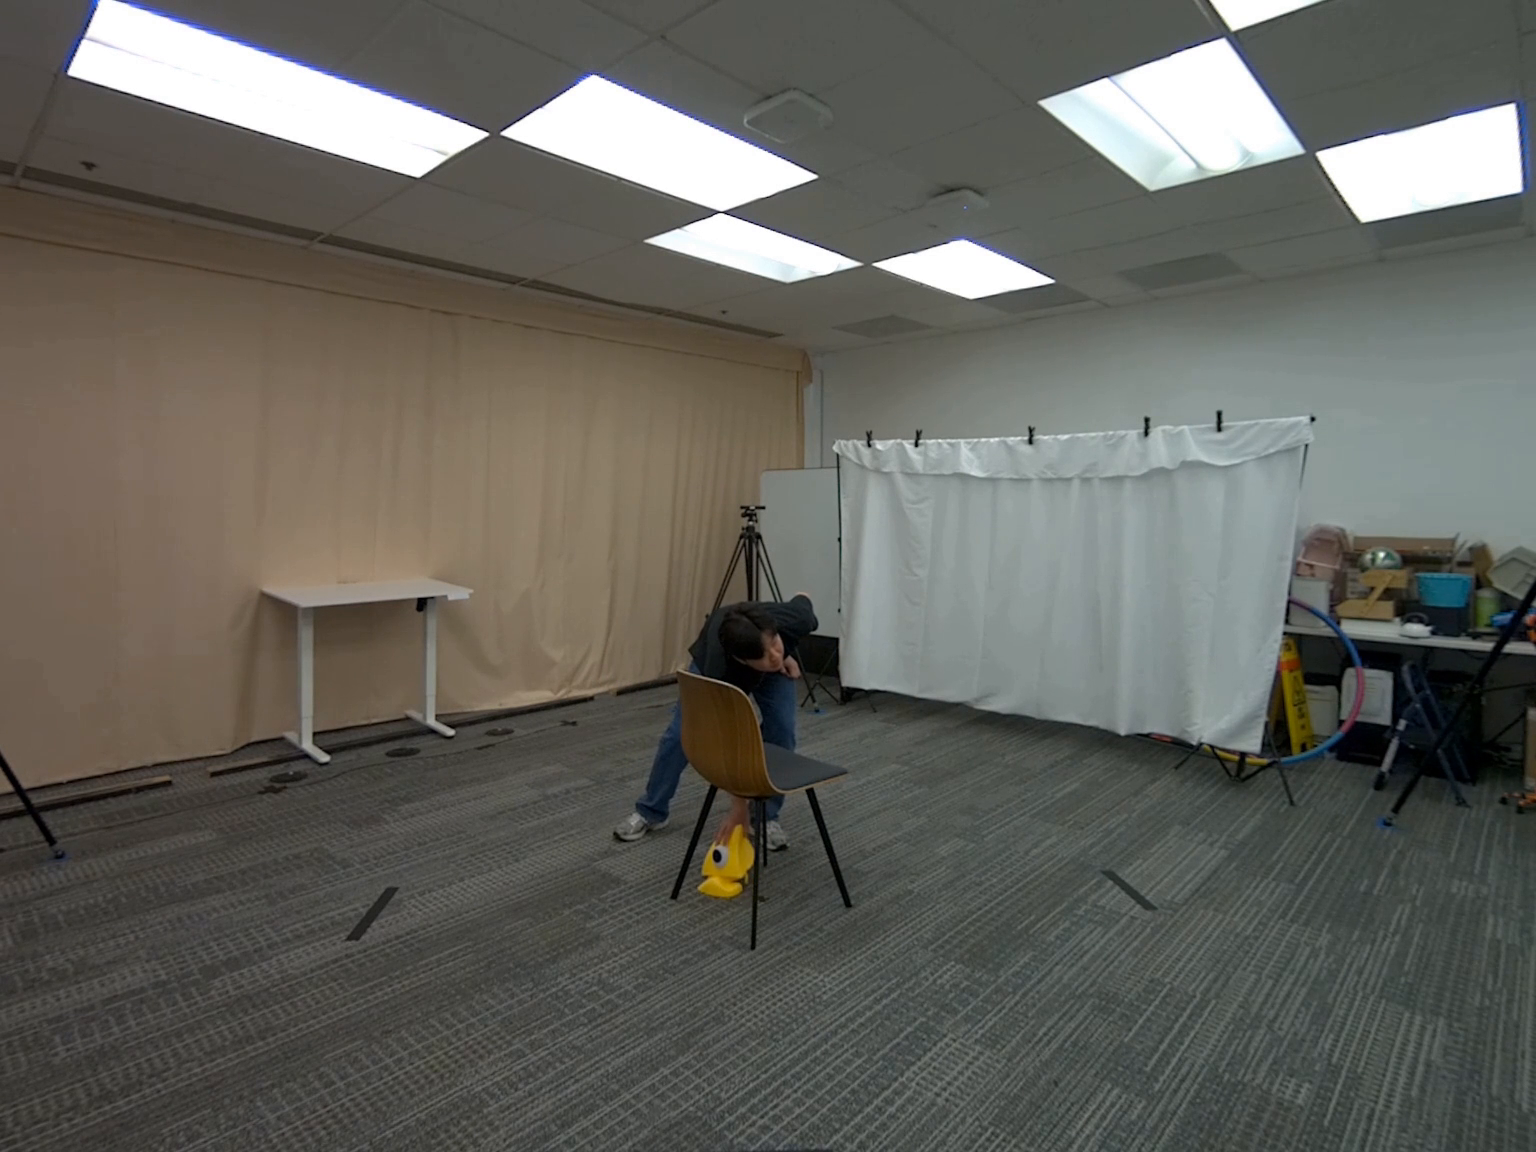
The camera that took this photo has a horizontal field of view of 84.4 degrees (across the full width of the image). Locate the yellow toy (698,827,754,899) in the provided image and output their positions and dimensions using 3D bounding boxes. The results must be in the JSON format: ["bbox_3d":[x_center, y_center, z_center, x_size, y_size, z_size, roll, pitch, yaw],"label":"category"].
[{"bbox_3d":[-0.152,1.027,3.091,0.197,0.230,0.201,1,4,18],"label":"yellow toy"}]
